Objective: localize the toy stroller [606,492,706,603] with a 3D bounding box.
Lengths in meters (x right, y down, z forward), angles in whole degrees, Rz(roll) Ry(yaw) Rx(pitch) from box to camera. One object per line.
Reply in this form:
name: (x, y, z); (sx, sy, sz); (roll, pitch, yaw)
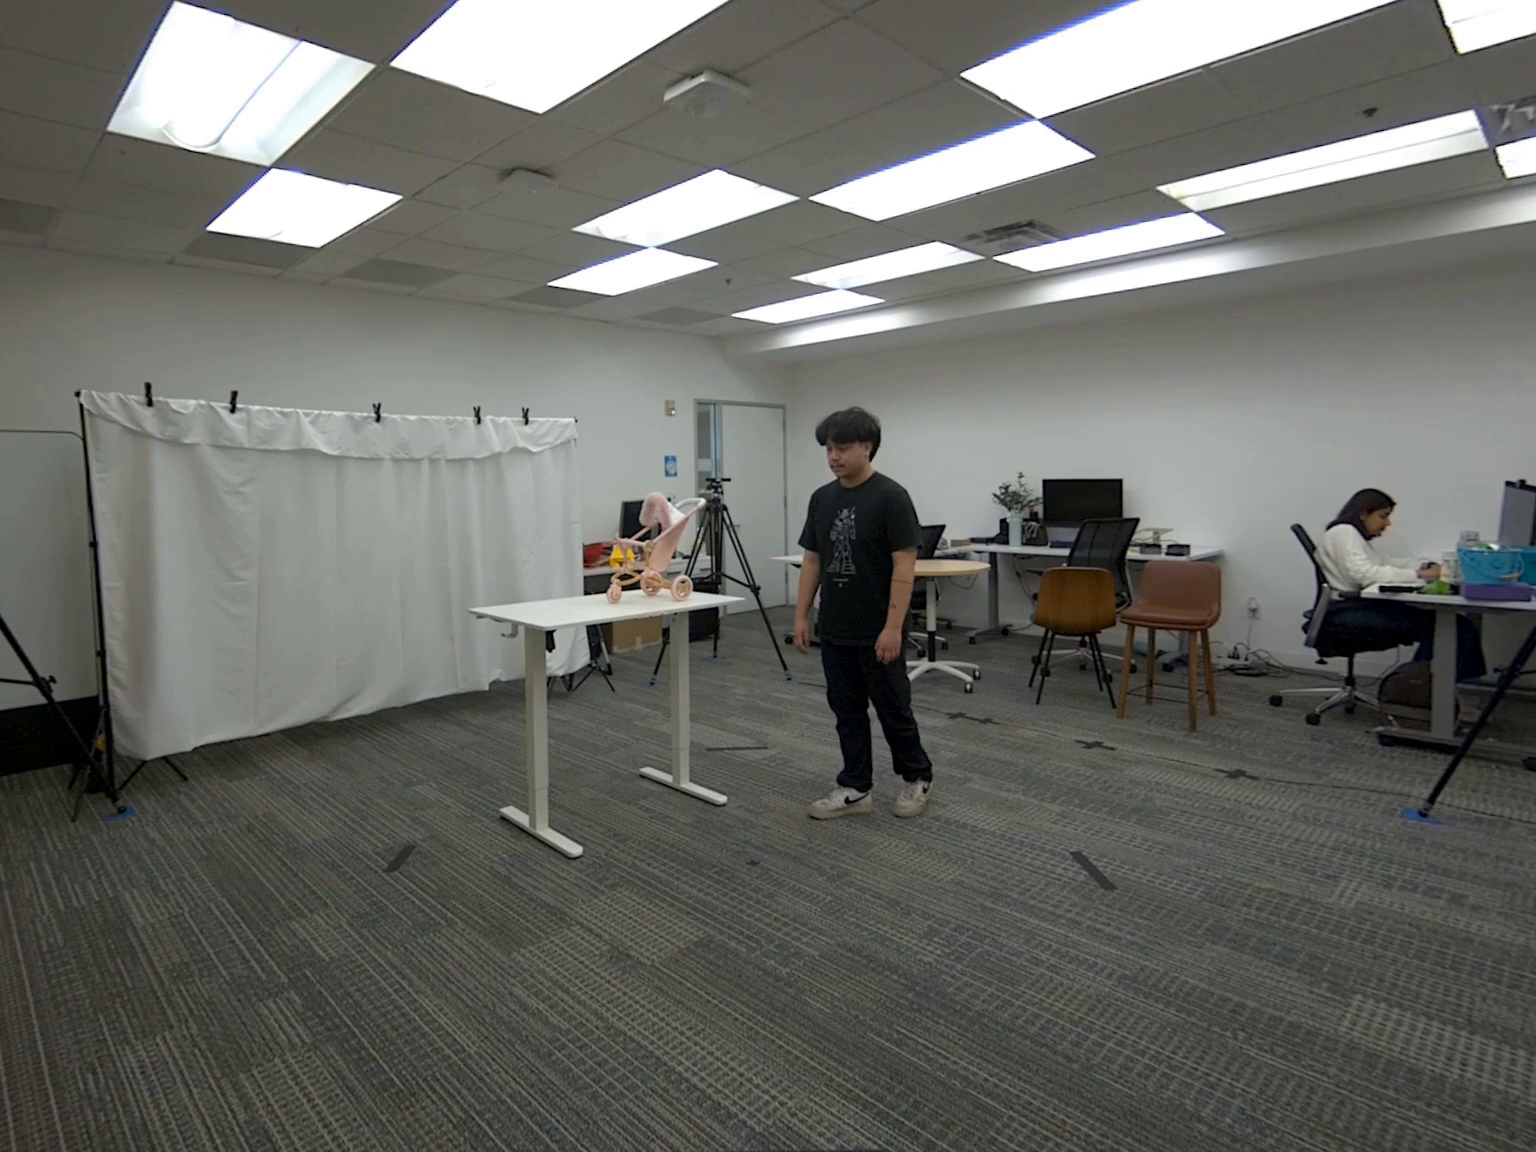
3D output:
toy stroller: (-0.502, -0.124, 3.708); (0.331, 0.537, 0.289); (15, -5, -32)
